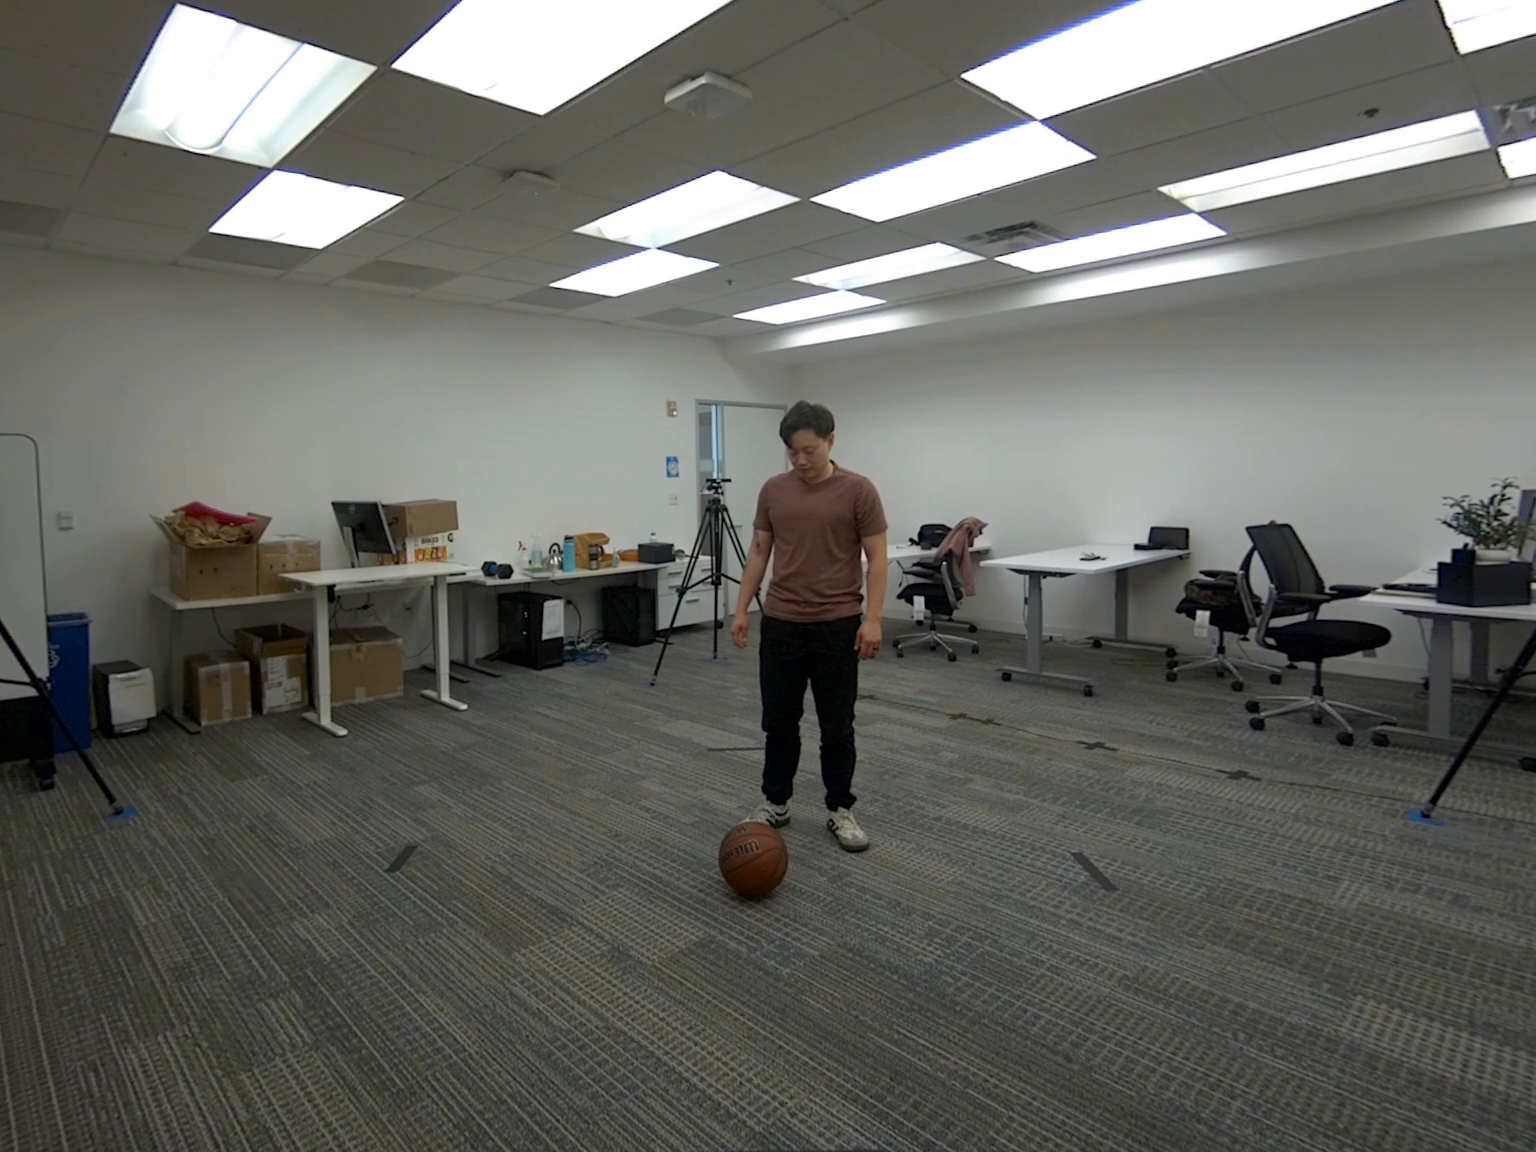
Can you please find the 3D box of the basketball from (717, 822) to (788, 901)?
[{"bbox_3d":[-0.047,0.955,2.878,0.236,0.235,0.237,-1,5,-2],"label":"basketball"}]
